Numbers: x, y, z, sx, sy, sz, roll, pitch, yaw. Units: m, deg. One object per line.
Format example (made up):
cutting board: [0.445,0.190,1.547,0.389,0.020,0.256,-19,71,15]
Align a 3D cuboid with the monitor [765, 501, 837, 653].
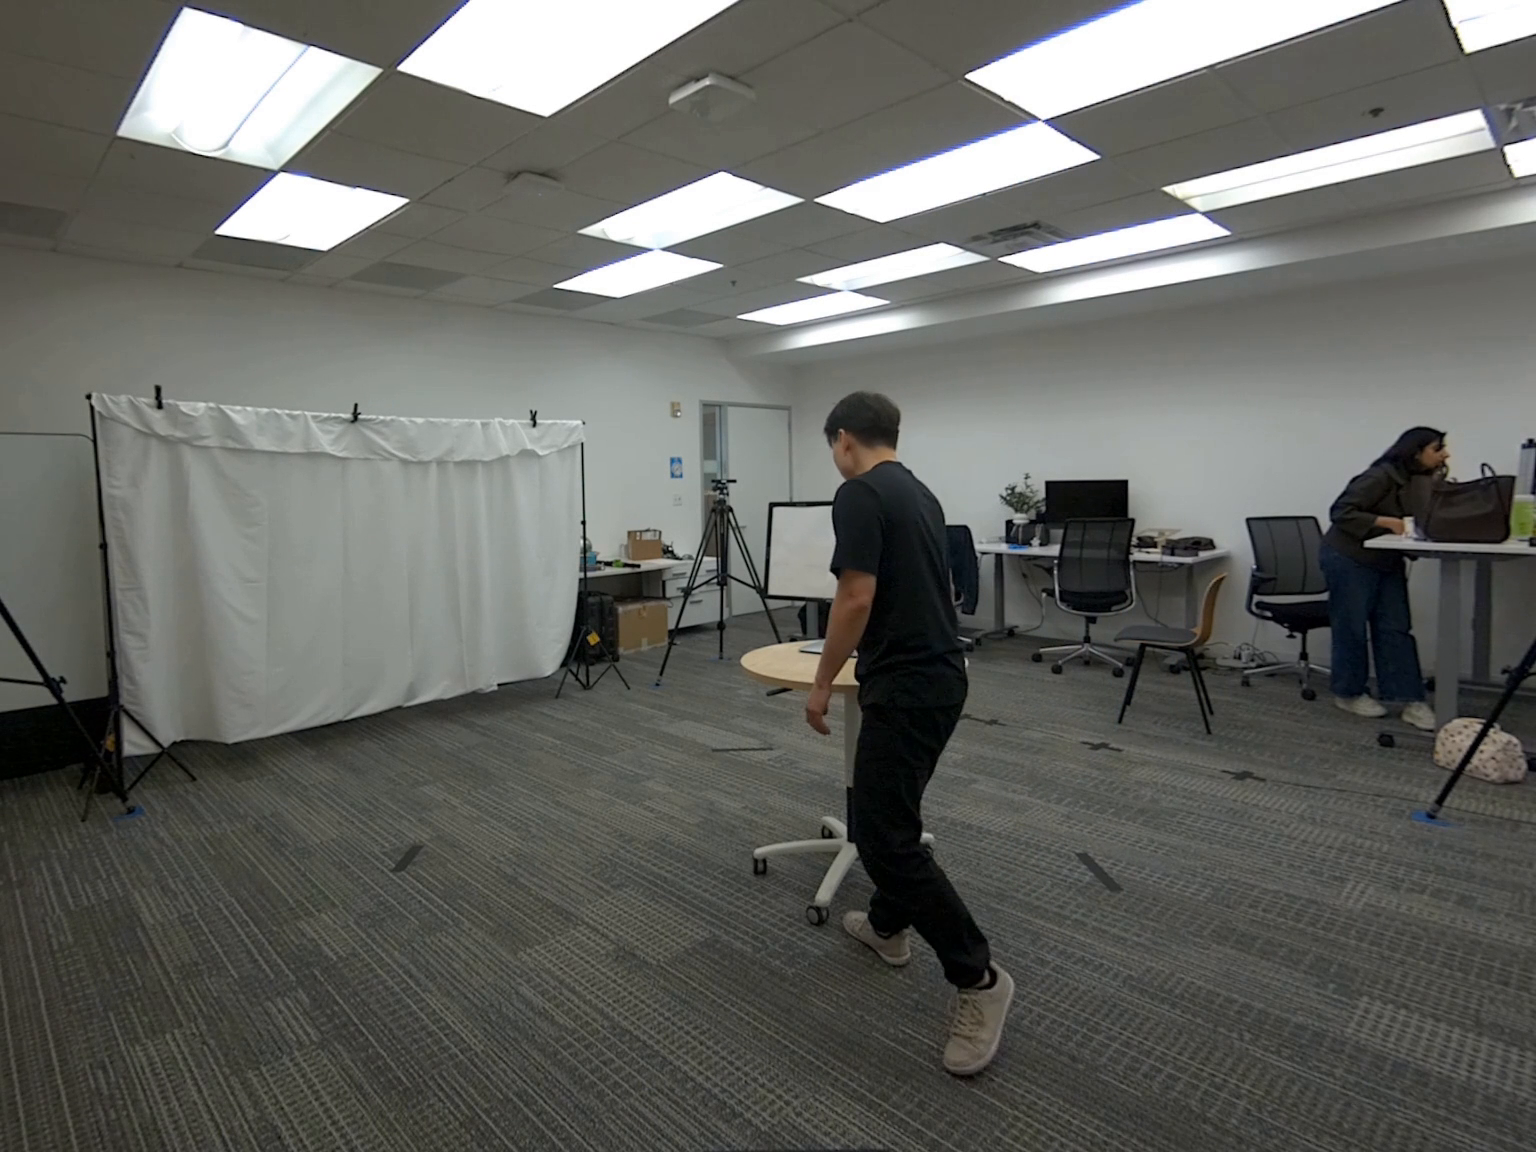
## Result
monitor: [0.260,0.007,3.077,0.554,0.520,0.183,2,6,32]
